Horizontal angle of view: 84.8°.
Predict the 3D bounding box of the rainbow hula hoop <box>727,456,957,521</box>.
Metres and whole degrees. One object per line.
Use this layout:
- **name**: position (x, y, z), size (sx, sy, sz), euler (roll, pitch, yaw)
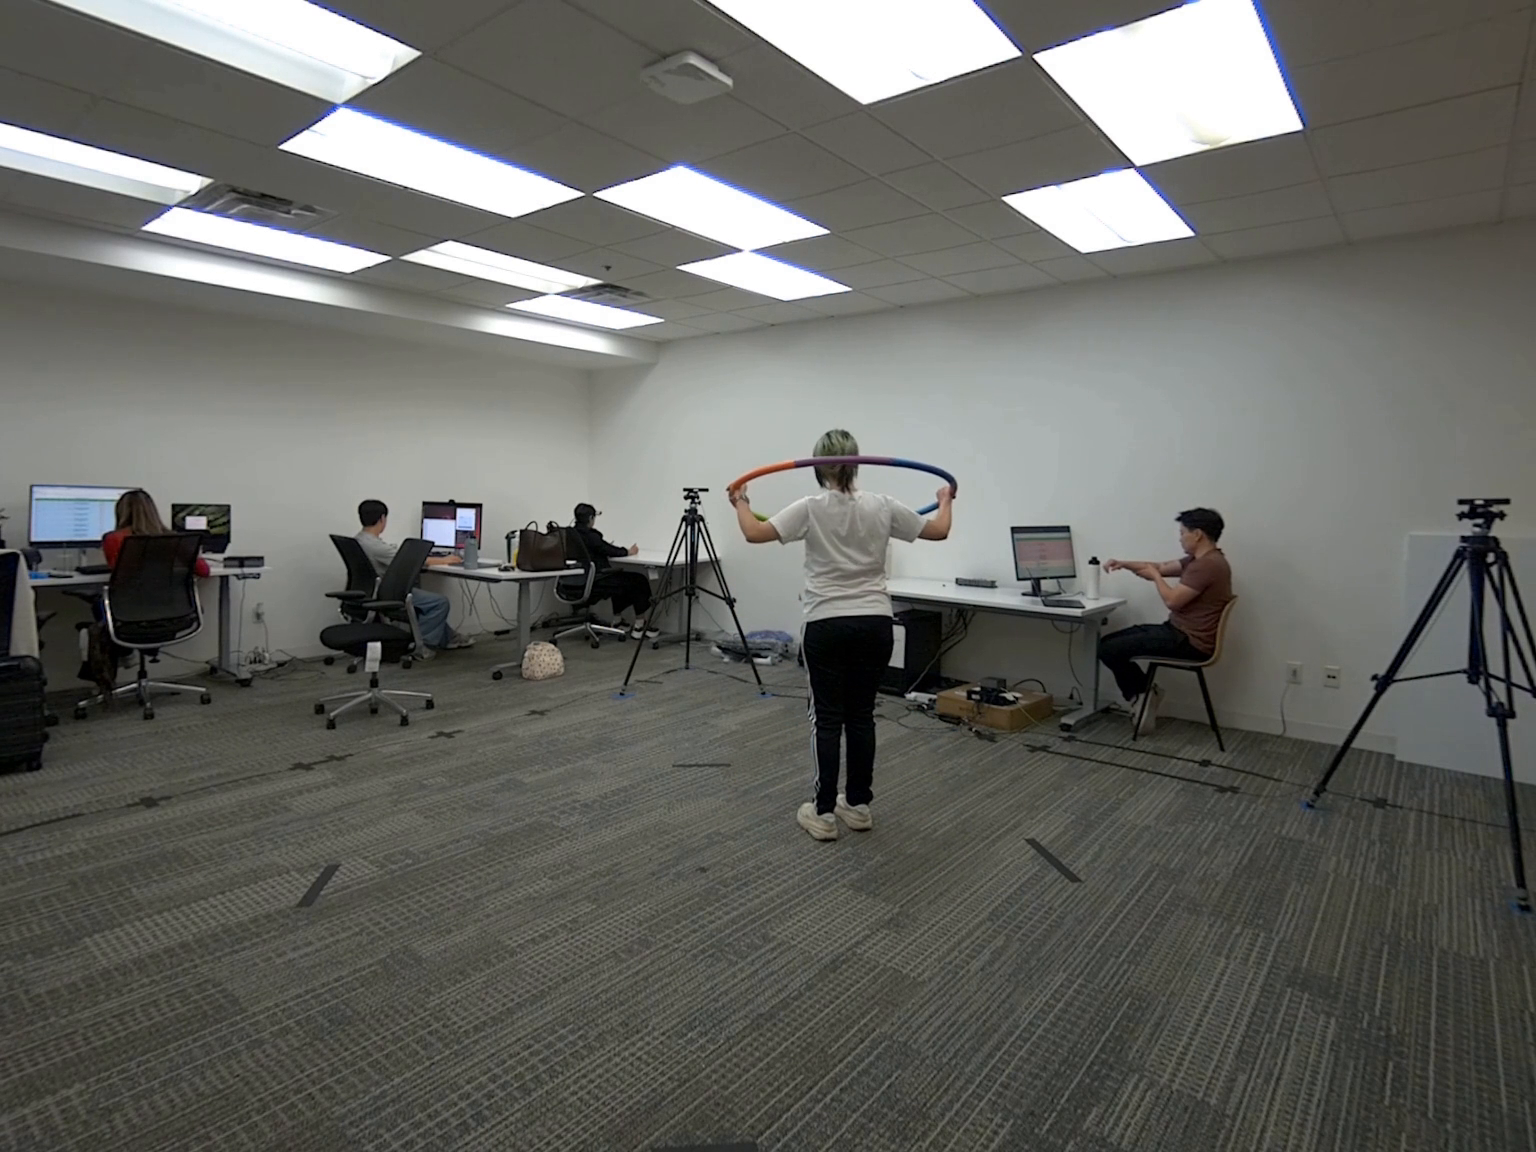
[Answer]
- **rainbow hula hoop**: position (0.312, -0.343, 3.718), size (0.985, 0.052, 0.973), euler (0, -13, -2)
